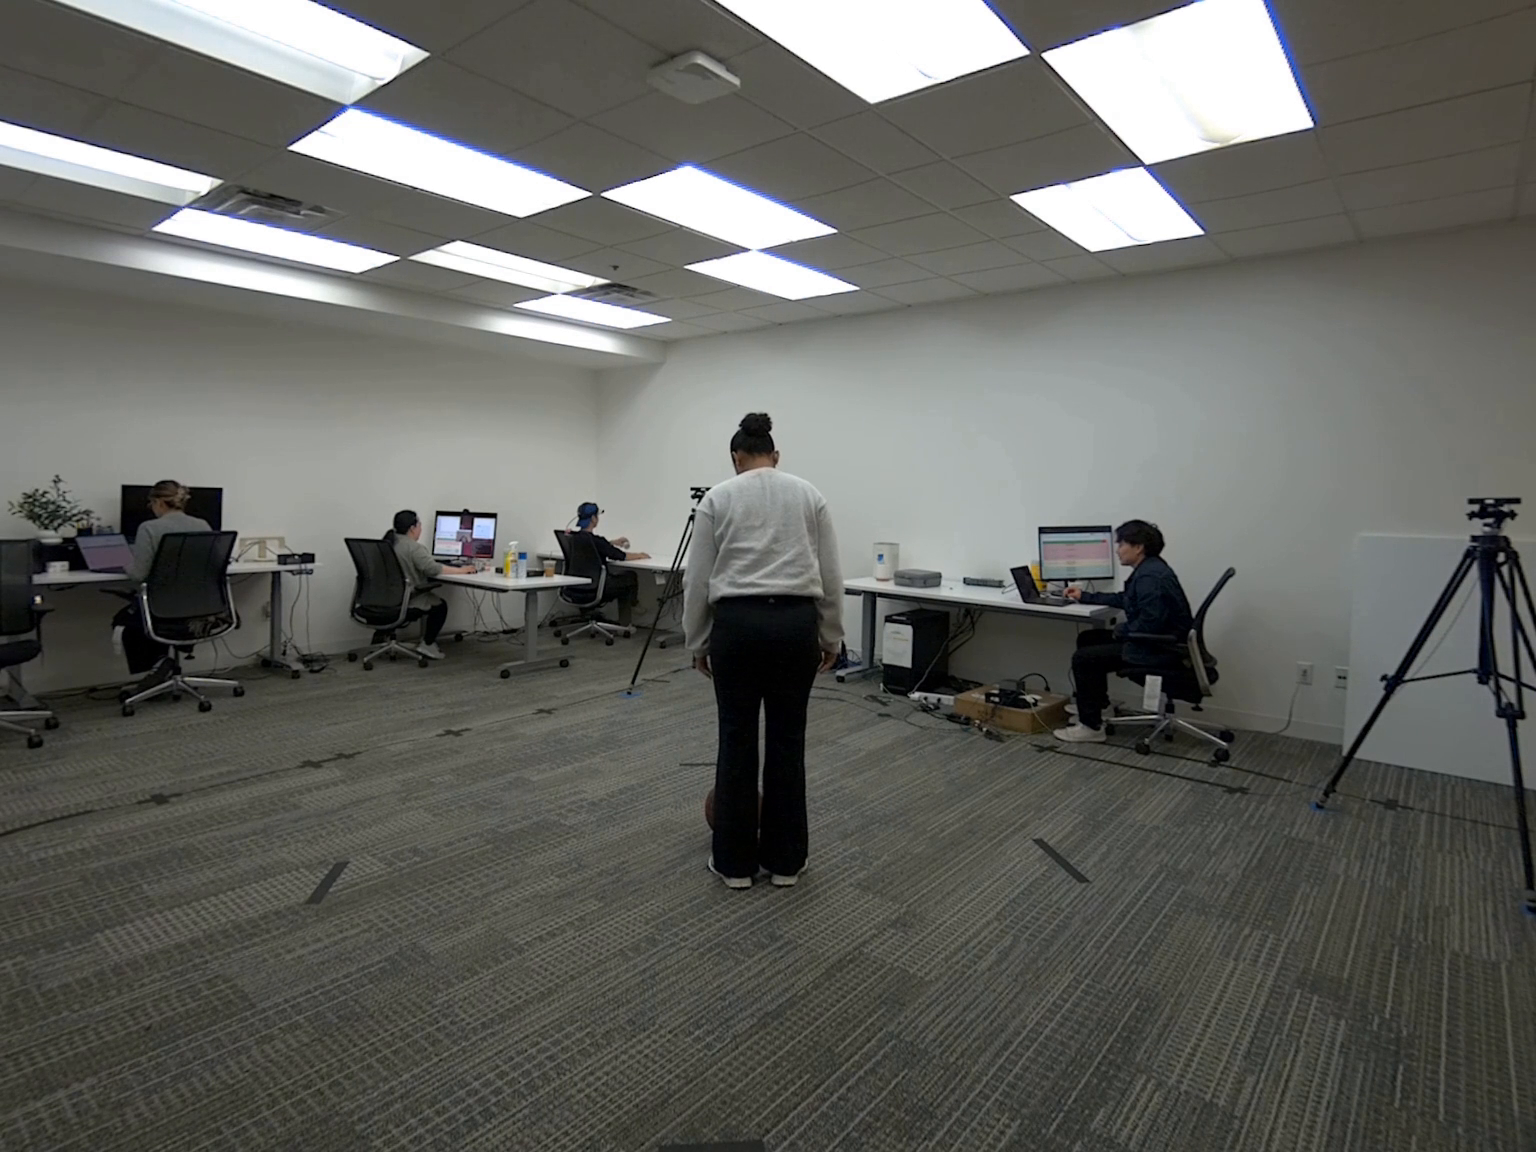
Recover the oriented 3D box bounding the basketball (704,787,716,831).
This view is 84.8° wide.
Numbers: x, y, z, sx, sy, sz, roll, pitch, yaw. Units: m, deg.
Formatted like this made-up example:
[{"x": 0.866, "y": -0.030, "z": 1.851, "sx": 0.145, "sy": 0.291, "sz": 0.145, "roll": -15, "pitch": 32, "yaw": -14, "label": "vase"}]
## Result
[{"x": -0.135, "y": 0.918, "z": 3.367, "sx": 0.235, "sy": 0.235, "sz": 0.237, "roll": 1, "pitch": 4, "yaw": -2, "label": "basketball"}]
